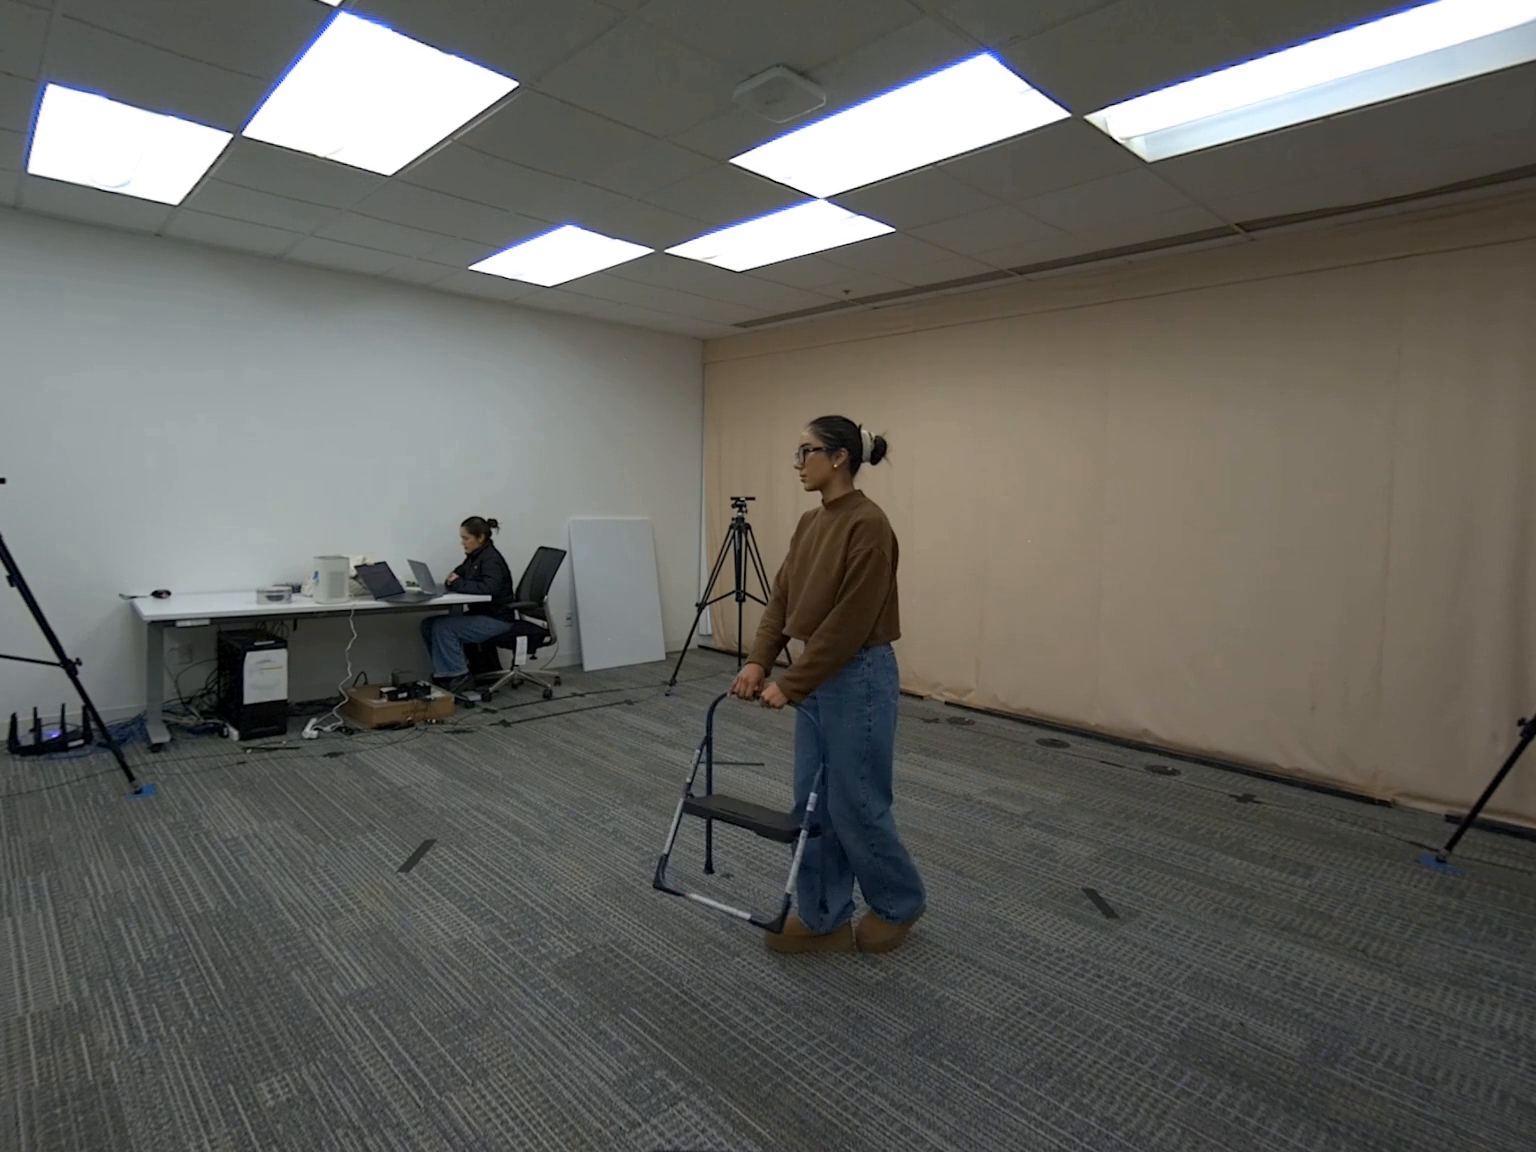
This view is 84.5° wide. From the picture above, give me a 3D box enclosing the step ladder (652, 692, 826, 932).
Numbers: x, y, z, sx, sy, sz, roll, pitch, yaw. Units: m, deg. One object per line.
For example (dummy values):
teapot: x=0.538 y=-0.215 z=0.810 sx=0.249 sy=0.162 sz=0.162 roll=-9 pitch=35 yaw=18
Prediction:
step ladder: x=-0.032 y=0.660 z=2.489 sx=0.440 sy=0.609 sz=0.340 roll=6 pitch=-8 yaw=27
